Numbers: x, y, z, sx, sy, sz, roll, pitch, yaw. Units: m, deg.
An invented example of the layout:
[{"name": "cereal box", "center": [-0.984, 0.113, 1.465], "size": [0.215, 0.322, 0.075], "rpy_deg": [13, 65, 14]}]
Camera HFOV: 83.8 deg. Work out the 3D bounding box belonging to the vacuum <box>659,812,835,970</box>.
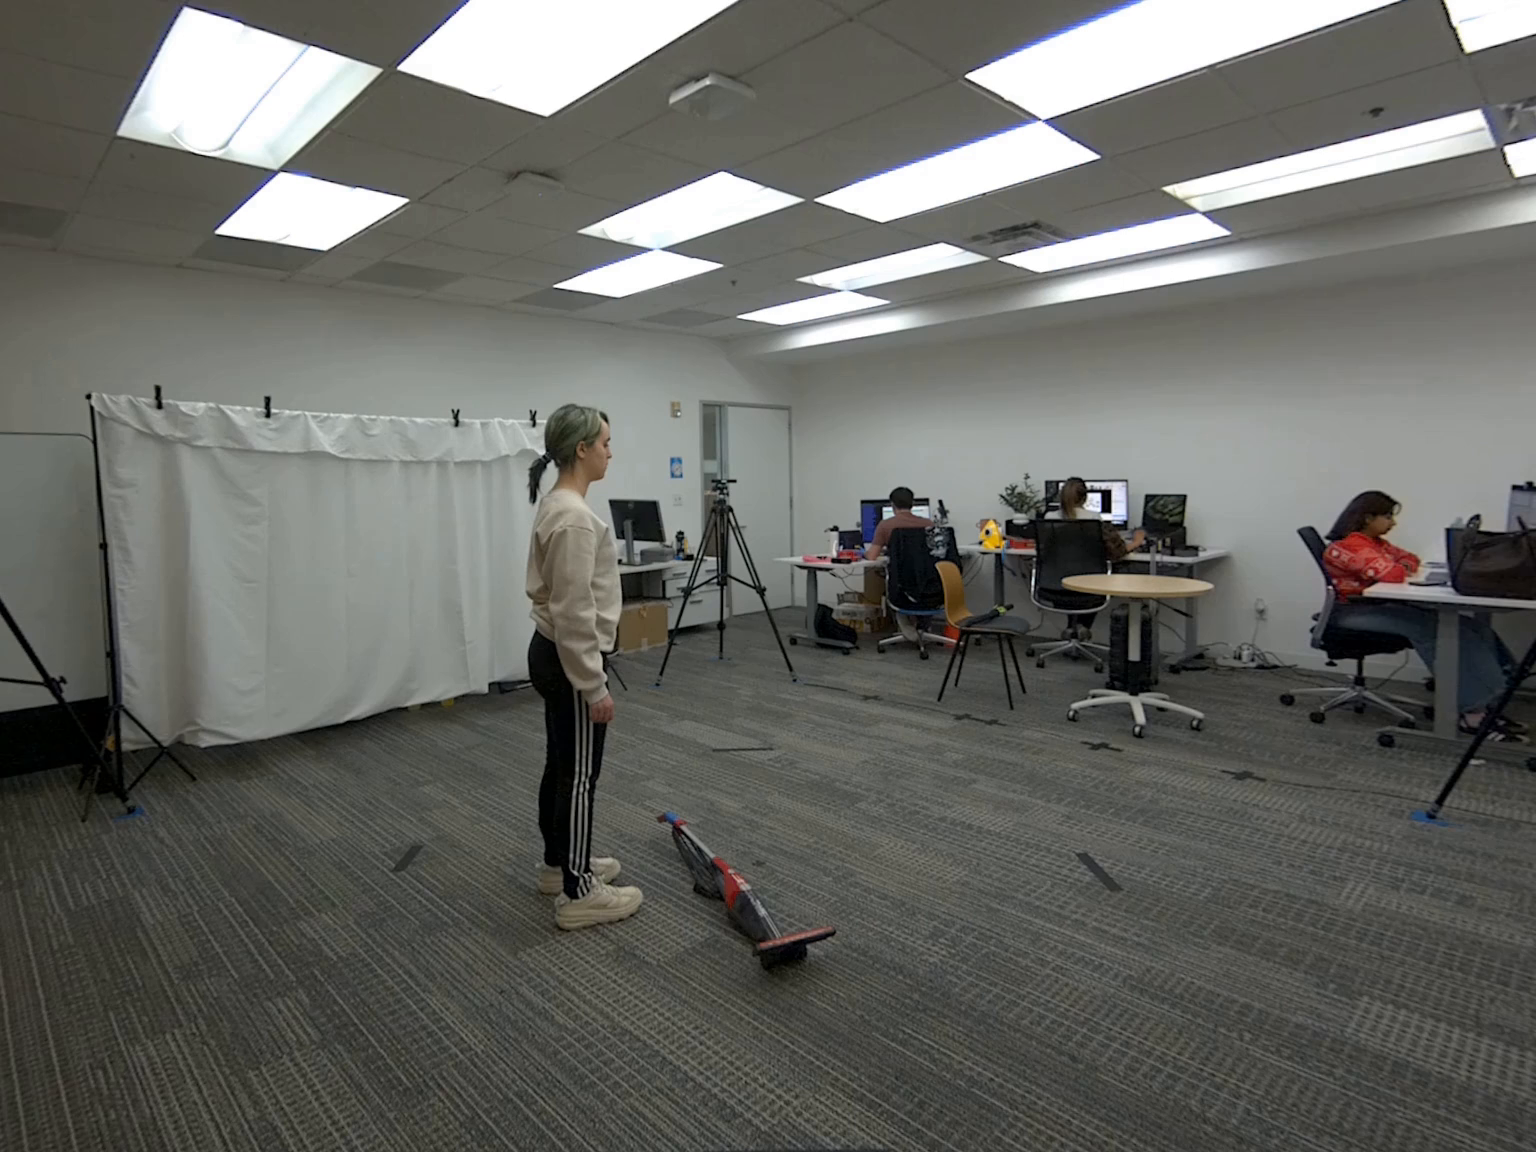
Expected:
[{"name": "vacuum", "center": [-0.182, 1.013, 2.903], "size": [0.247, 0.143, 1.076], "rpy_deg": [-1, 5, -26]}]
